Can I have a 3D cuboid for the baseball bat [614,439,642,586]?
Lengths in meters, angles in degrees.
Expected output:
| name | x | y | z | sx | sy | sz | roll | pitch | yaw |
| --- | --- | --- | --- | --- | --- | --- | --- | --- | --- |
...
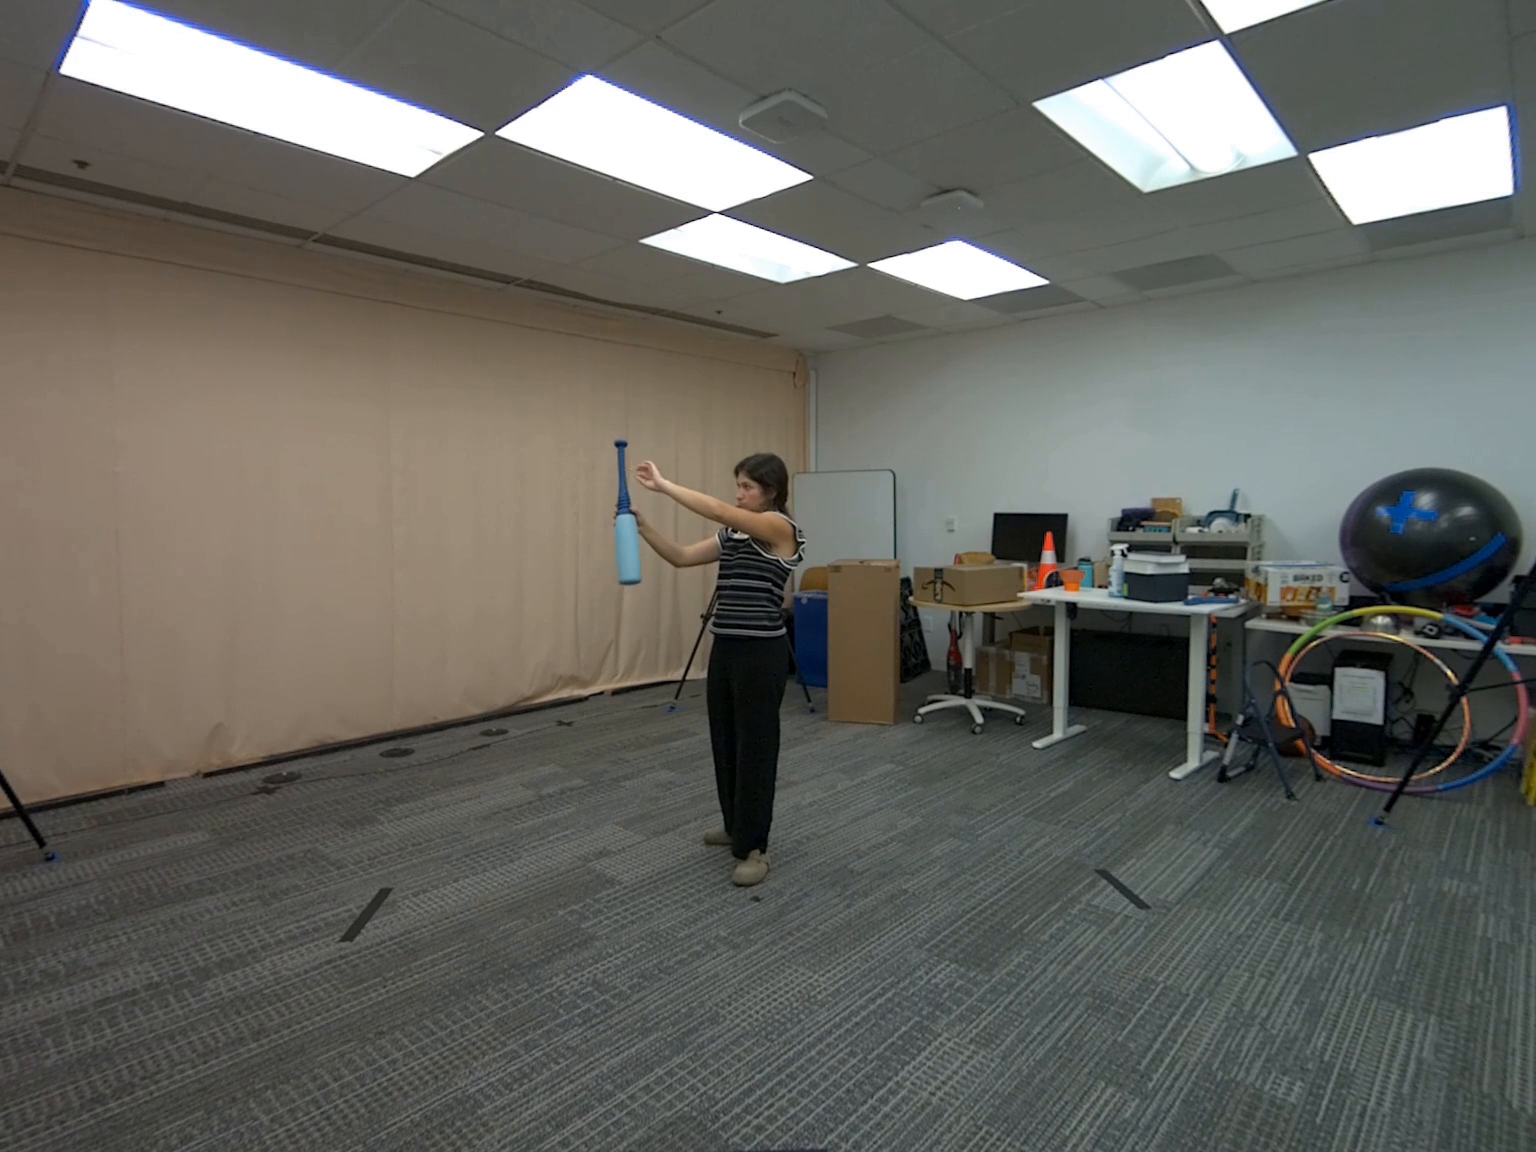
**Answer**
| name | x | y | z | sx | sy | sz | roll | pitch | yaw |
| --- | --- | --- | --- | --- | --- | --- | --- | --- | --- |
| baseball bat | -0.525 | -0.242 | 3.059 | 0.089 | 0.548 | 0.088 | -8 | -12 | -3 |
